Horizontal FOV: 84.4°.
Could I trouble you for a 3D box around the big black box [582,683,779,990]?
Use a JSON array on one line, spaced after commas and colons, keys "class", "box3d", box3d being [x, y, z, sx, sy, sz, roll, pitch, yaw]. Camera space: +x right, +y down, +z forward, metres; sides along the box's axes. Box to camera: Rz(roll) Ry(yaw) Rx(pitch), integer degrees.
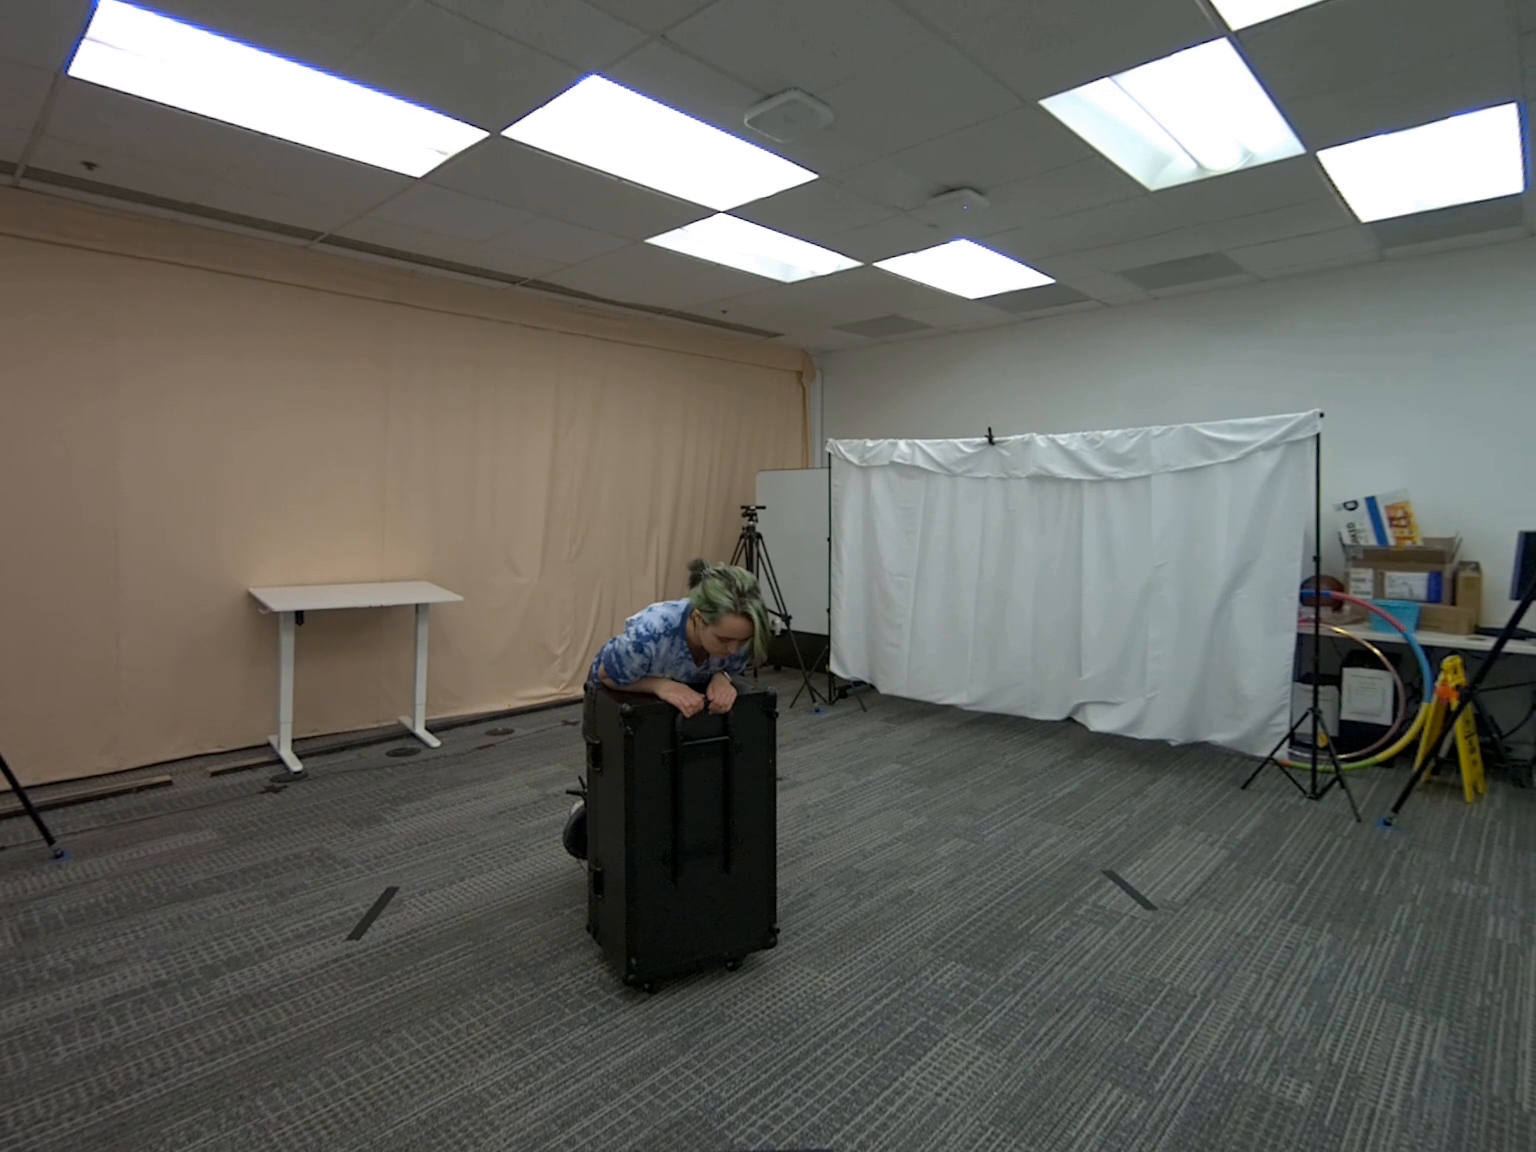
[{"class": "big black box", "box3d": [-0.258, 0.706, 2.541, 0.508, 0.859, 0.407, -2, 4, -28]}]
